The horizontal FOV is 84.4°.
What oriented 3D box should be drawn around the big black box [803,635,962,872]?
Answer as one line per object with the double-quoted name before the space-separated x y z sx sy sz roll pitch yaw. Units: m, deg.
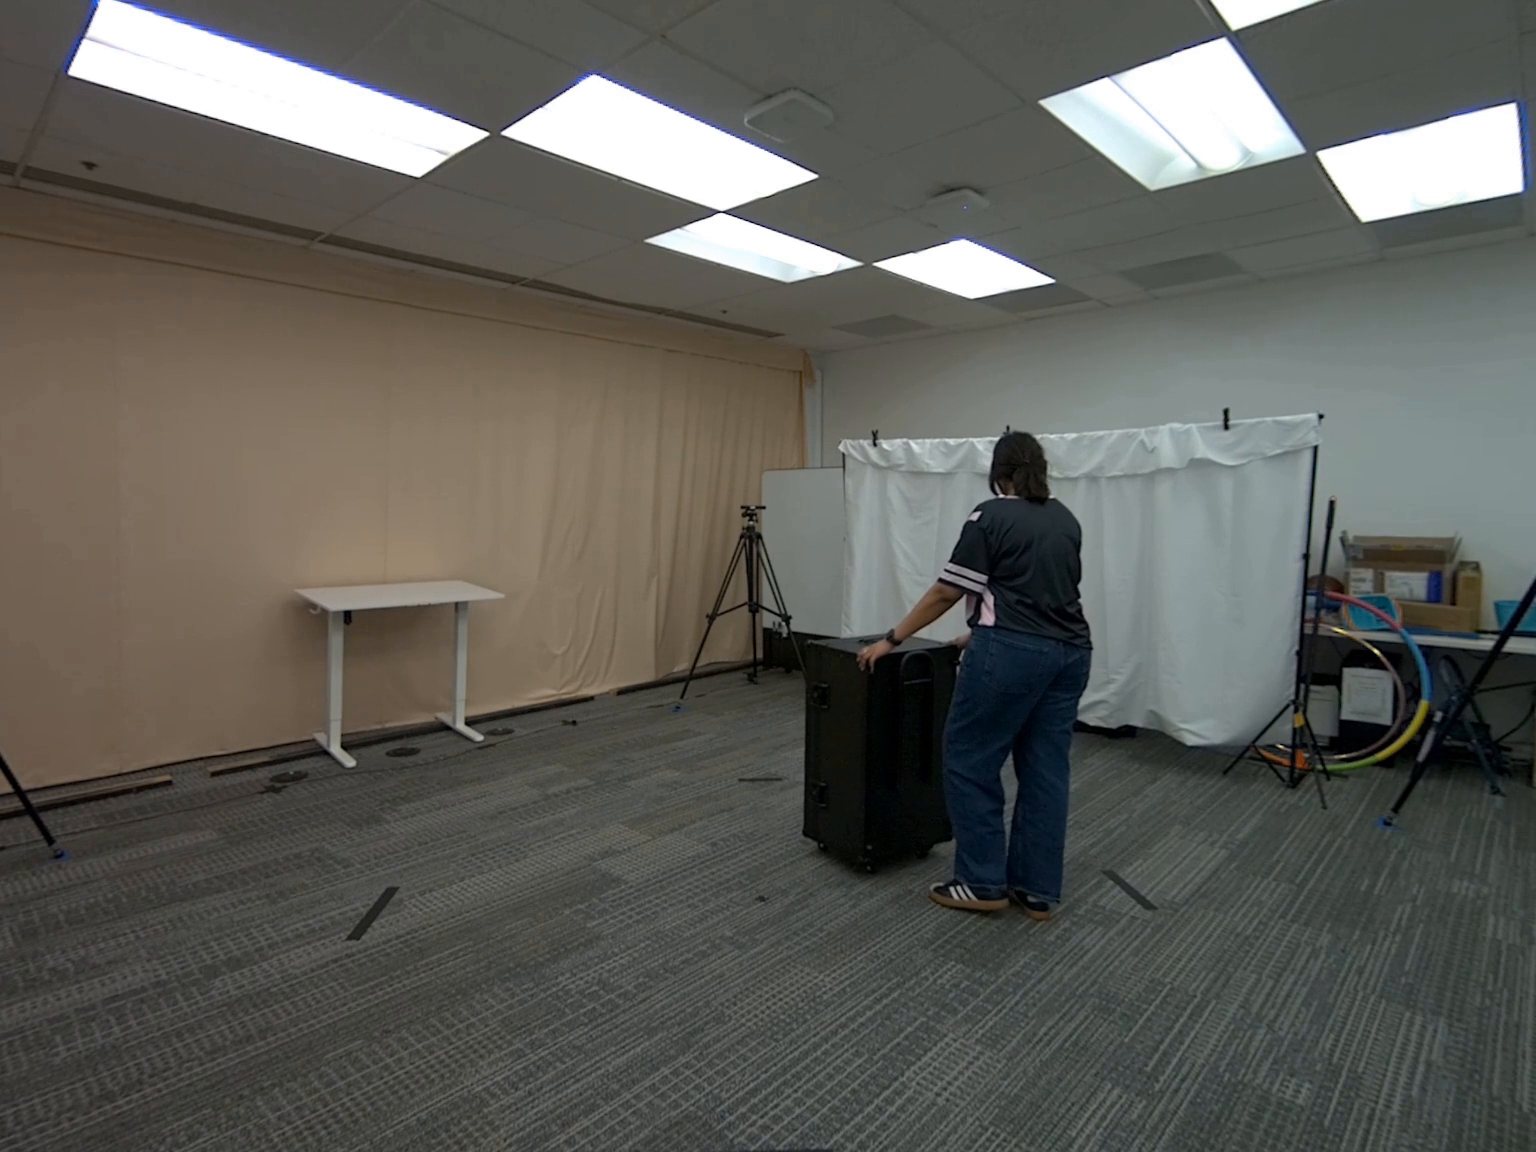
"big black box" 0.454 0.690 3.342 0.508 0.866 0.397 -2 5 -35
